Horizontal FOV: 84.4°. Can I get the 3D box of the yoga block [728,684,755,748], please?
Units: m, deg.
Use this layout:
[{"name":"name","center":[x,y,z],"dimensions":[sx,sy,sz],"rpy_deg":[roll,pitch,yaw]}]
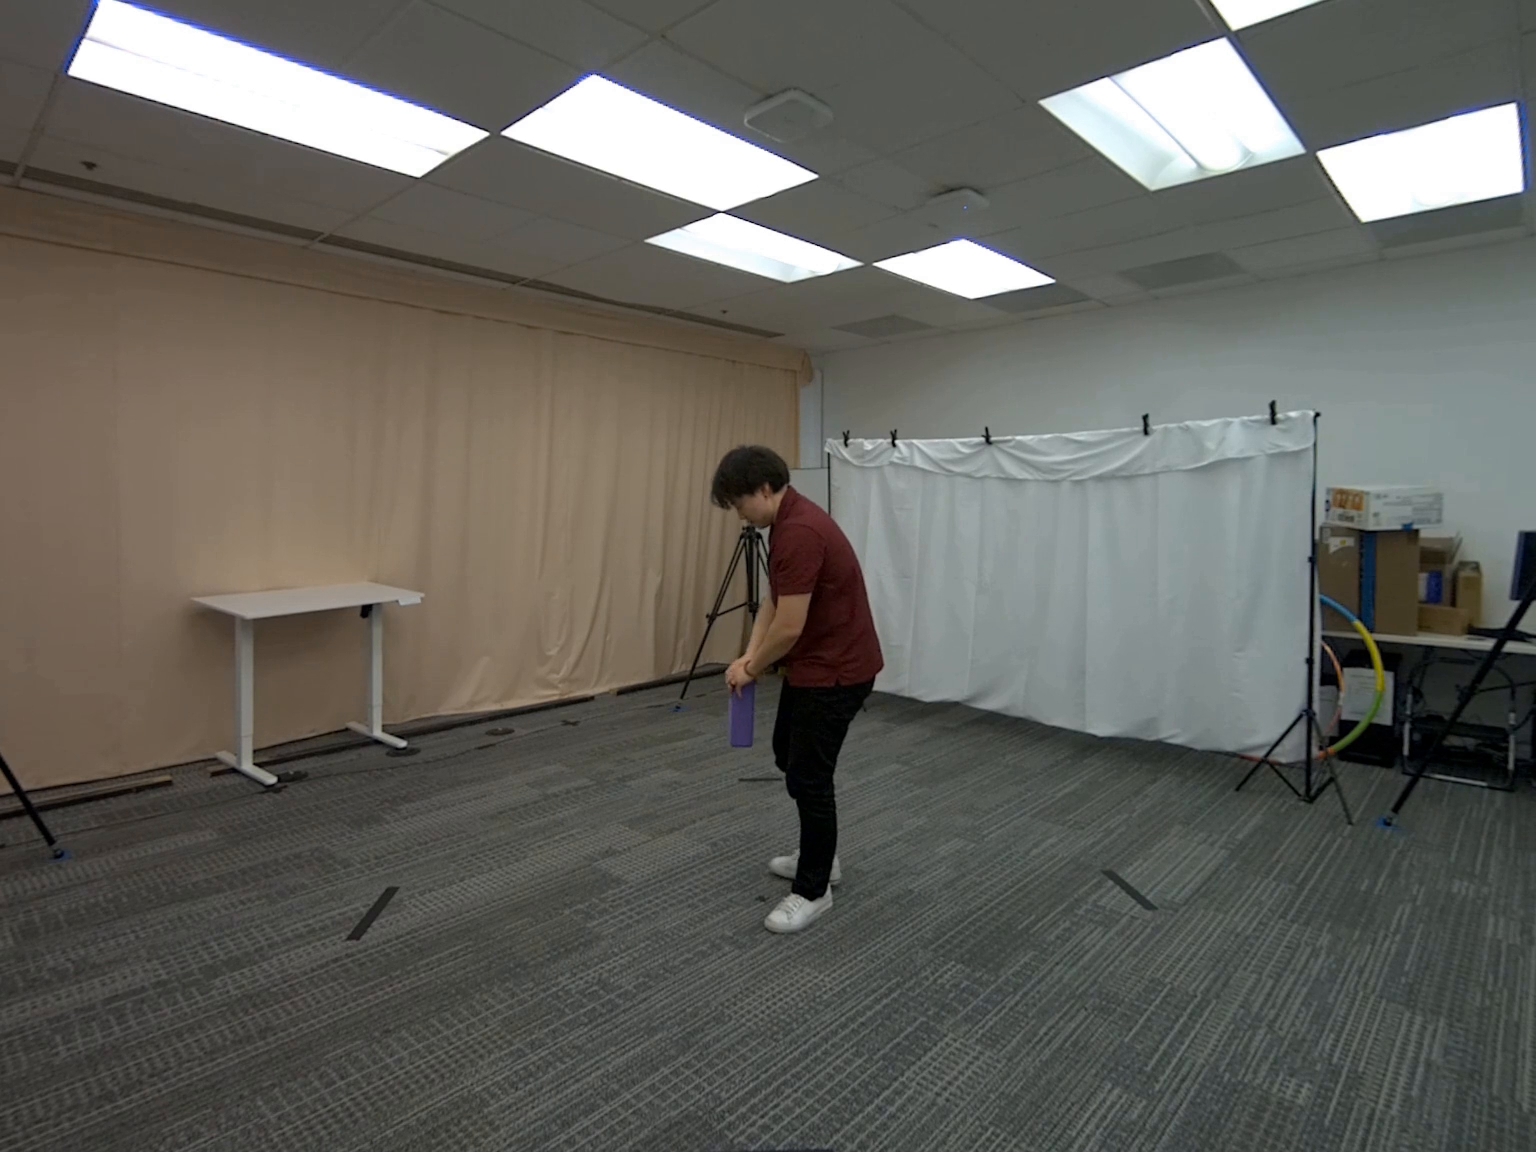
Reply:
[{"name":"yoga block","center":[-0.084,0.475,2.904],"dimensions":[0.077,0.229,0.148],"rpy_deg":[3,2,5]}]
